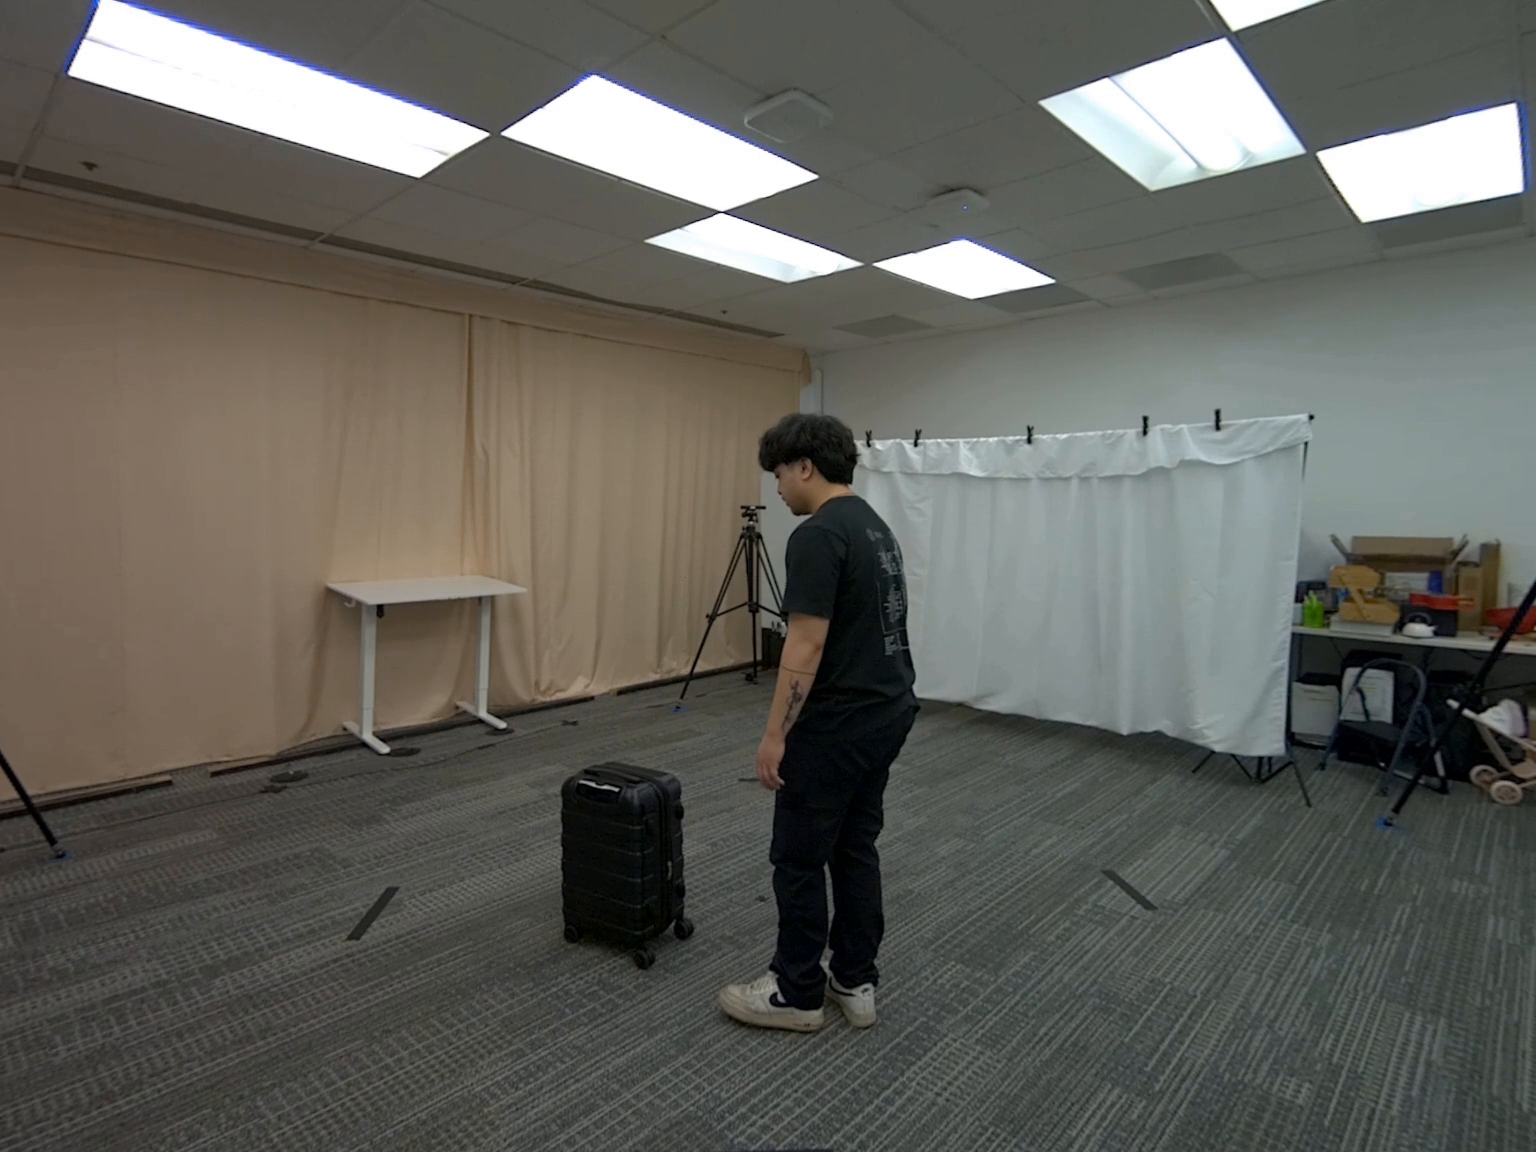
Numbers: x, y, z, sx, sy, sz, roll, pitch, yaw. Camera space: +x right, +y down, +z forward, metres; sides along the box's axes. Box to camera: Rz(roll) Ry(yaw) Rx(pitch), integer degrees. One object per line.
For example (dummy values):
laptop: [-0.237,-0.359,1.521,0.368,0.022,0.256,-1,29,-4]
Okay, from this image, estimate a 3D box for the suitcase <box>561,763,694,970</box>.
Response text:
suitcase: [-0.470,0.895,2.711,0.386,0.548,0.241,-1,2,31]
